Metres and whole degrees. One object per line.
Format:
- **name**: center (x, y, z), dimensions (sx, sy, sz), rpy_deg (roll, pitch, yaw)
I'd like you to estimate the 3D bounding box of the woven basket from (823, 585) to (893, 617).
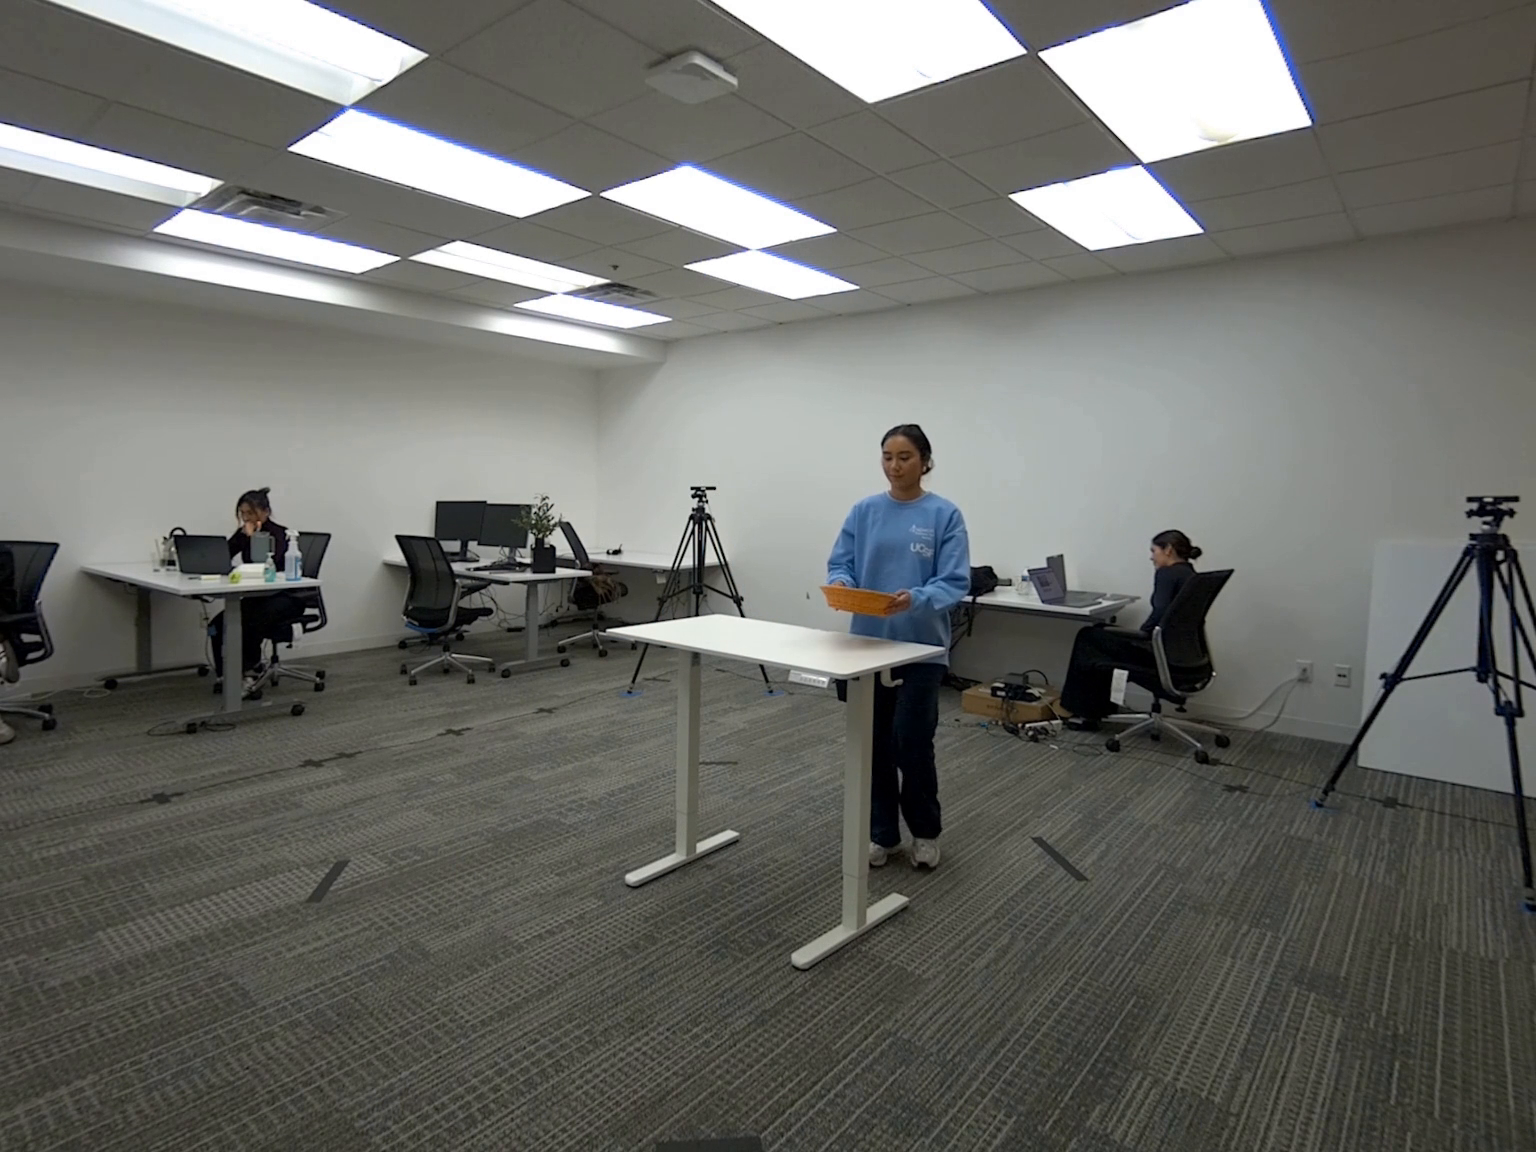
- **woven basket**: center (0.316, 0.089, 2.860), dimensions (0.257, 0.073, 0.343), rpy_deg (6, -2, 14)
